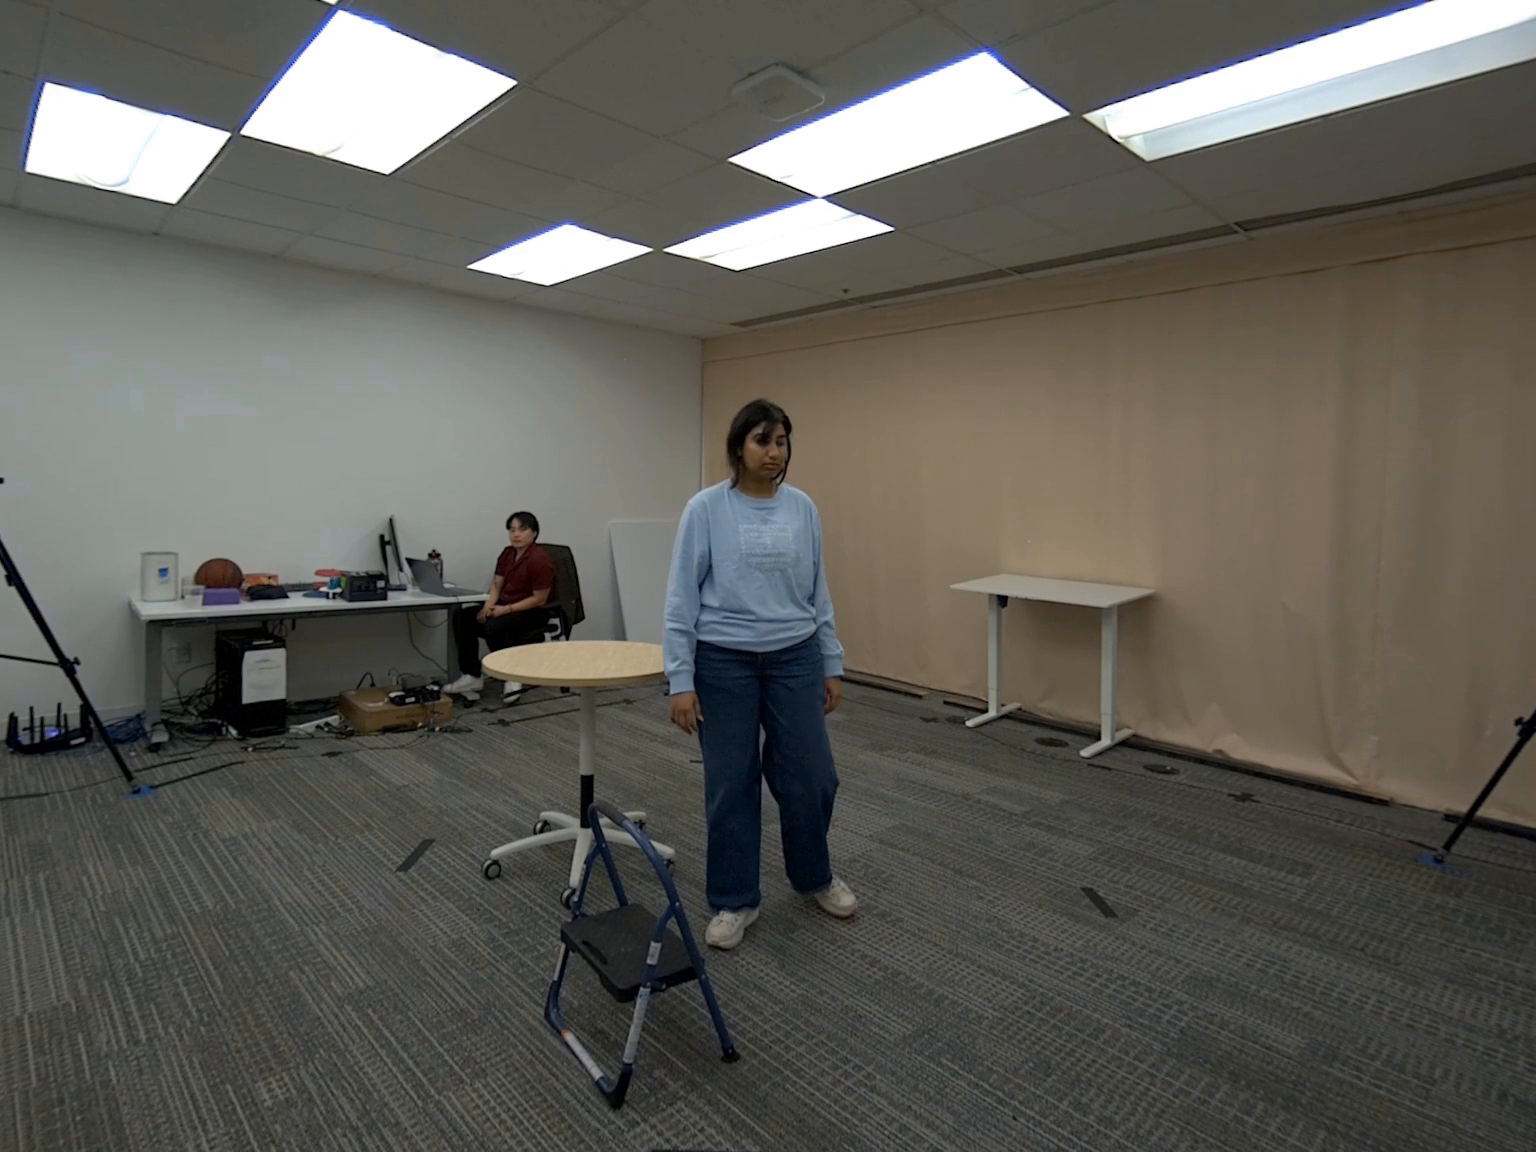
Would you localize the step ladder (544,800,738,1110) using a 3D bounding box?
[{"bbox_3d":[-0.338,0.888,2.140,0.341,0.604,0.441,-2,6,-37],"label":"step ladder"}]
